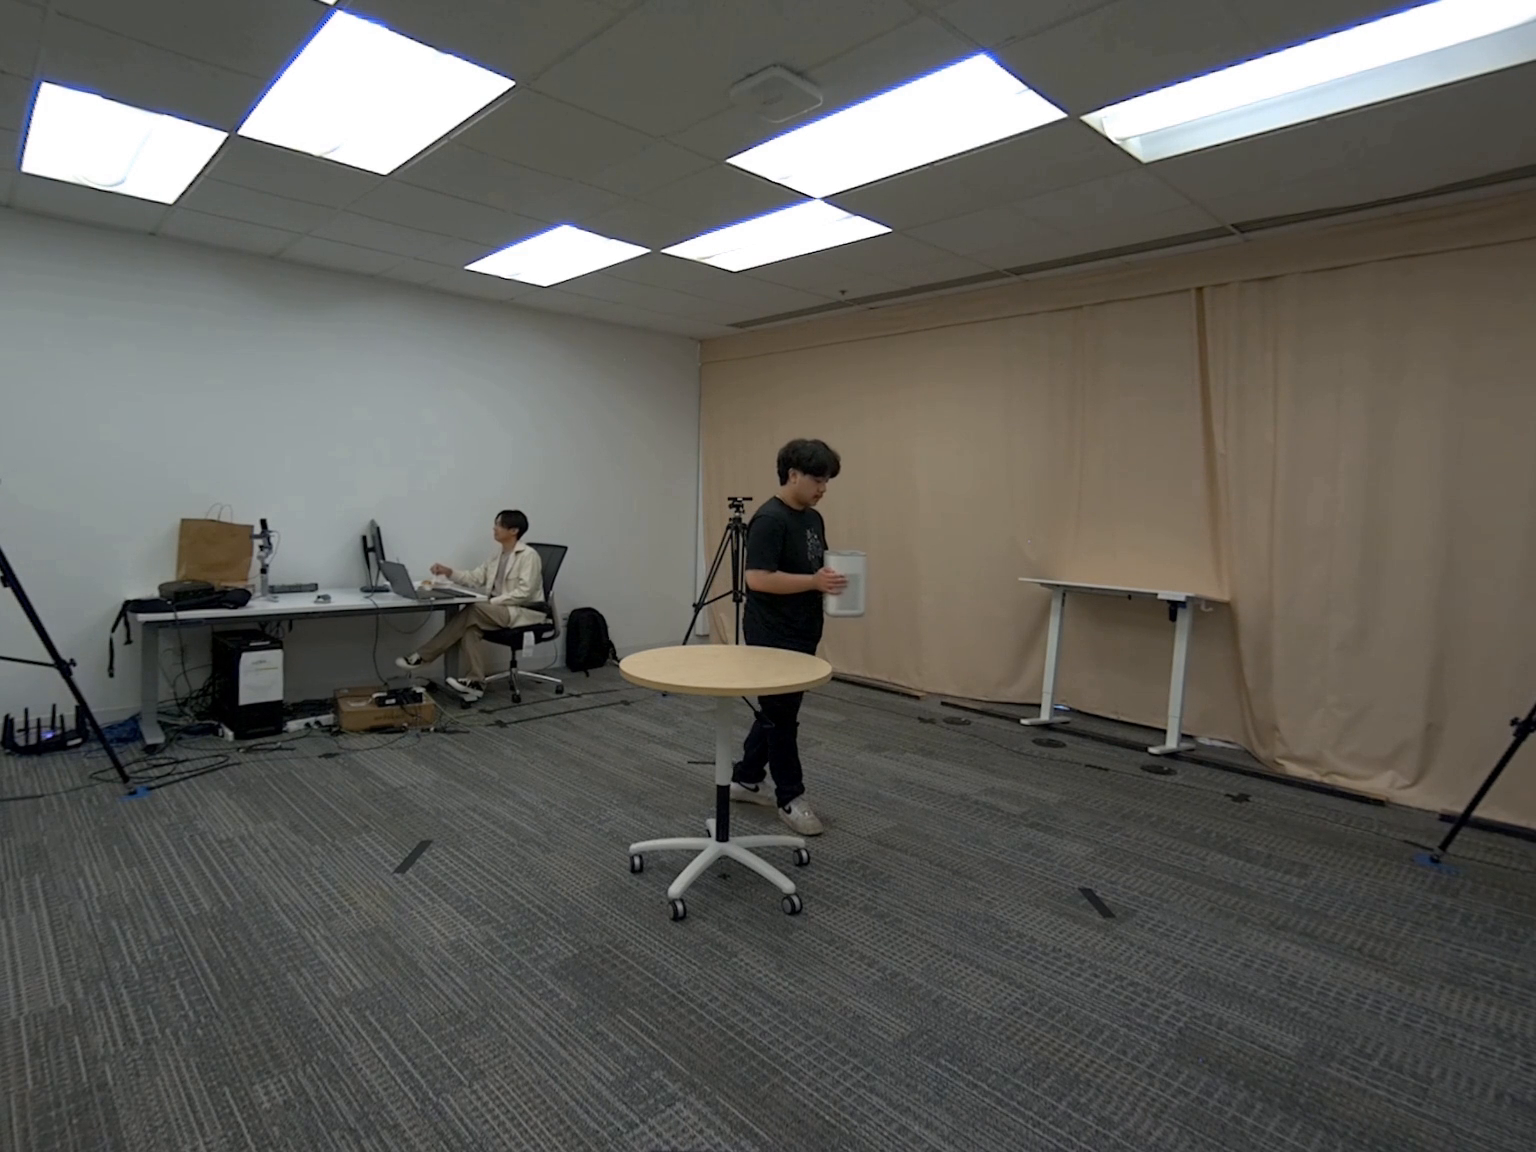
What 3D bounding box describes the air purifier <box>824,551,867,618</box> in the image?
[{"bbox_3d":[0.313,0.035,3.547,0.173,0.265,0.170,-1,0,8],"label":"air purifier"}]
